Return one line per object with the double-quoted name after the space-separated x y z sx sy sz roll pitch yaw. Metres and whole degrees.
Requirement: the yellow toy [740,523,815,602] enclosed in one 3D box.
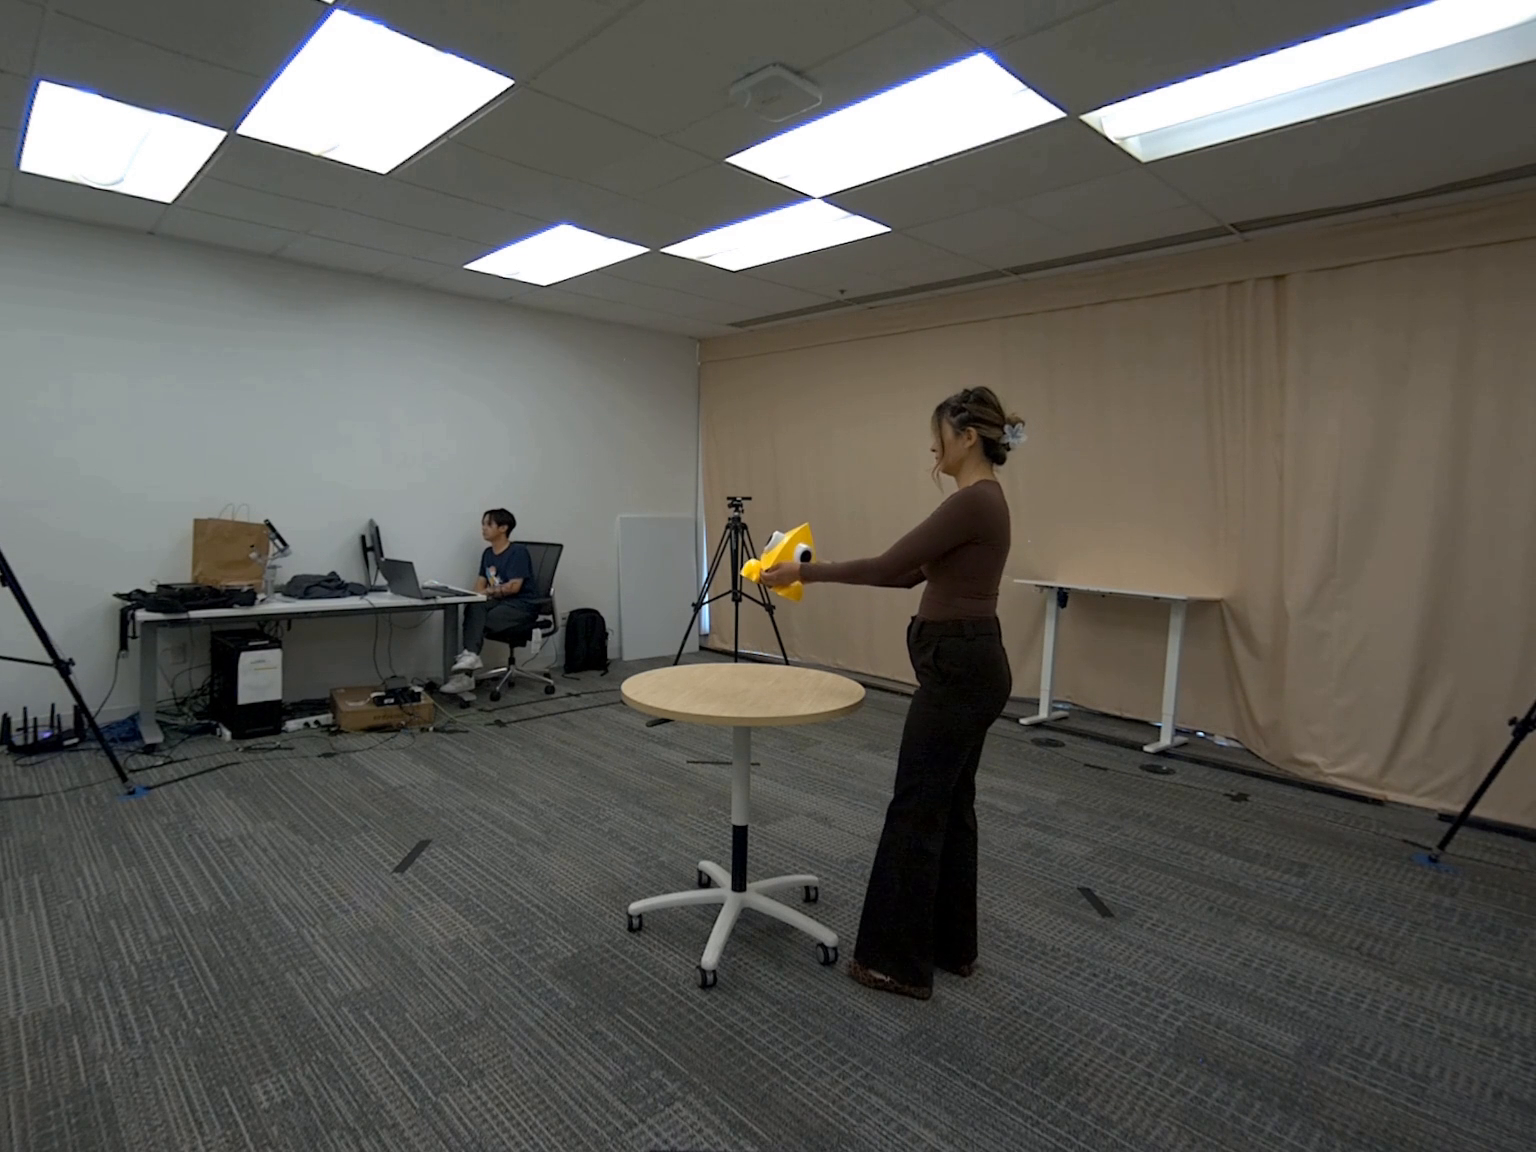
0.054 -0.073 2.605 0.209 0.230 0.189 27 2 22 "yellow toy"
